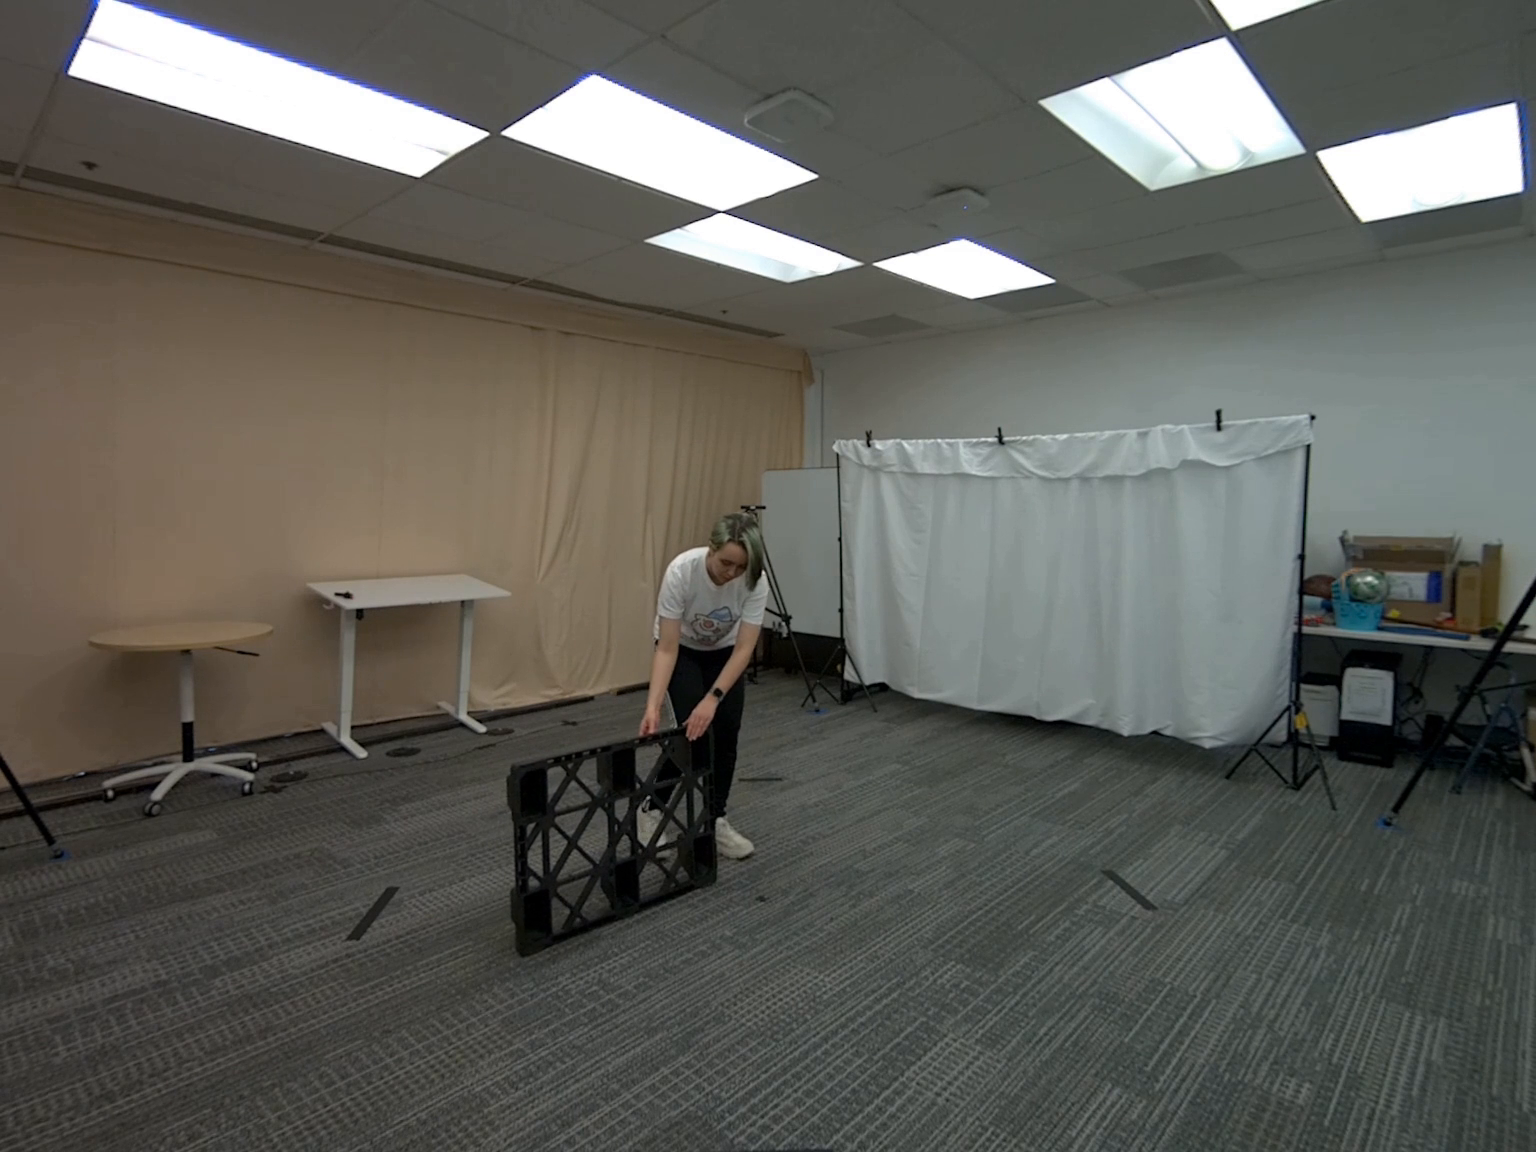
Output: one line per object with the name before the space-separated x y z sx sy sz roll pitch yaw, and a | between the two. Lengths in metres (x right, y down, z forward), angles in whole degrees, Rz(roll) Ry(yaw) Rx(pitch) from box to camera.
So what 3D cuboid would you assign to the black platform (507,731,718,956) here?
black platform | -0.528 0.861 2.892 0.781 0.604 0.148 -4 3 -42
